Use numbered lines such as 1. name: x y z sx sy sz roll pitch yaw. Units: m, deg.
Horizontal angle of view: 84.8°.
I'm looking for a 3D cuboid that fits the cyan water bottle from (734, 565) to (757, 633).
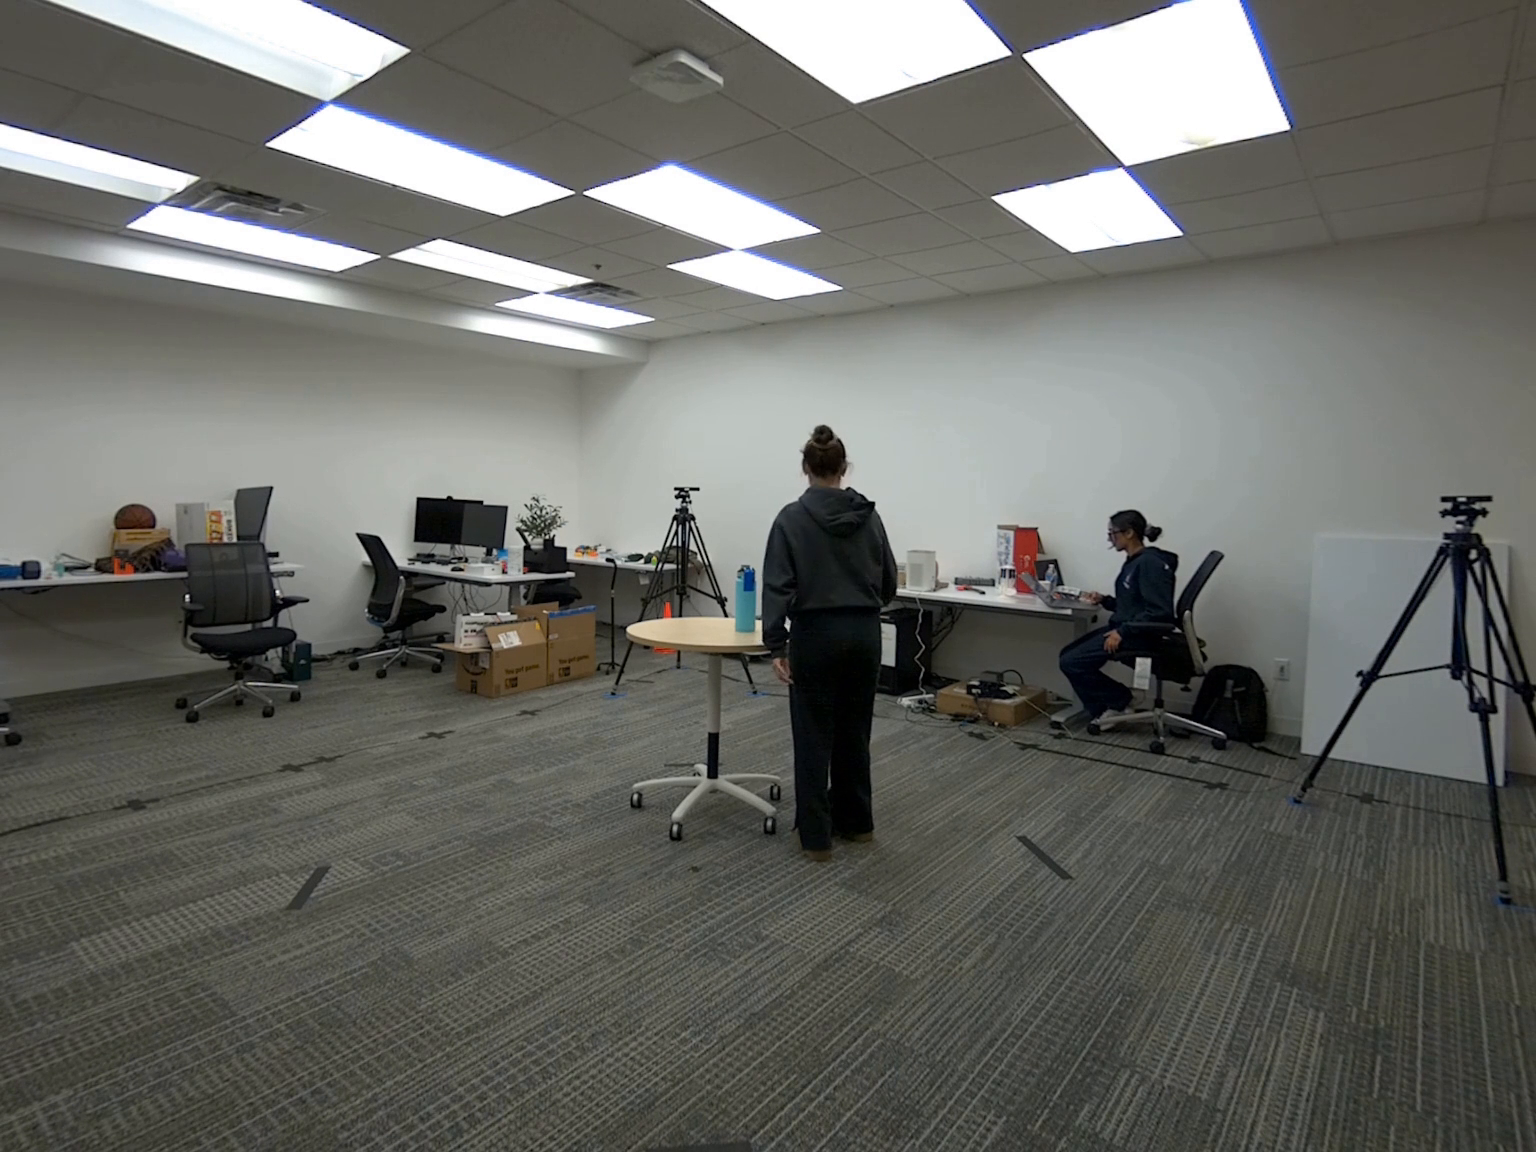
1. cyan water bottle: -0.100 0.092 3.664 0.092 0.282 0.093 4 4 -2
